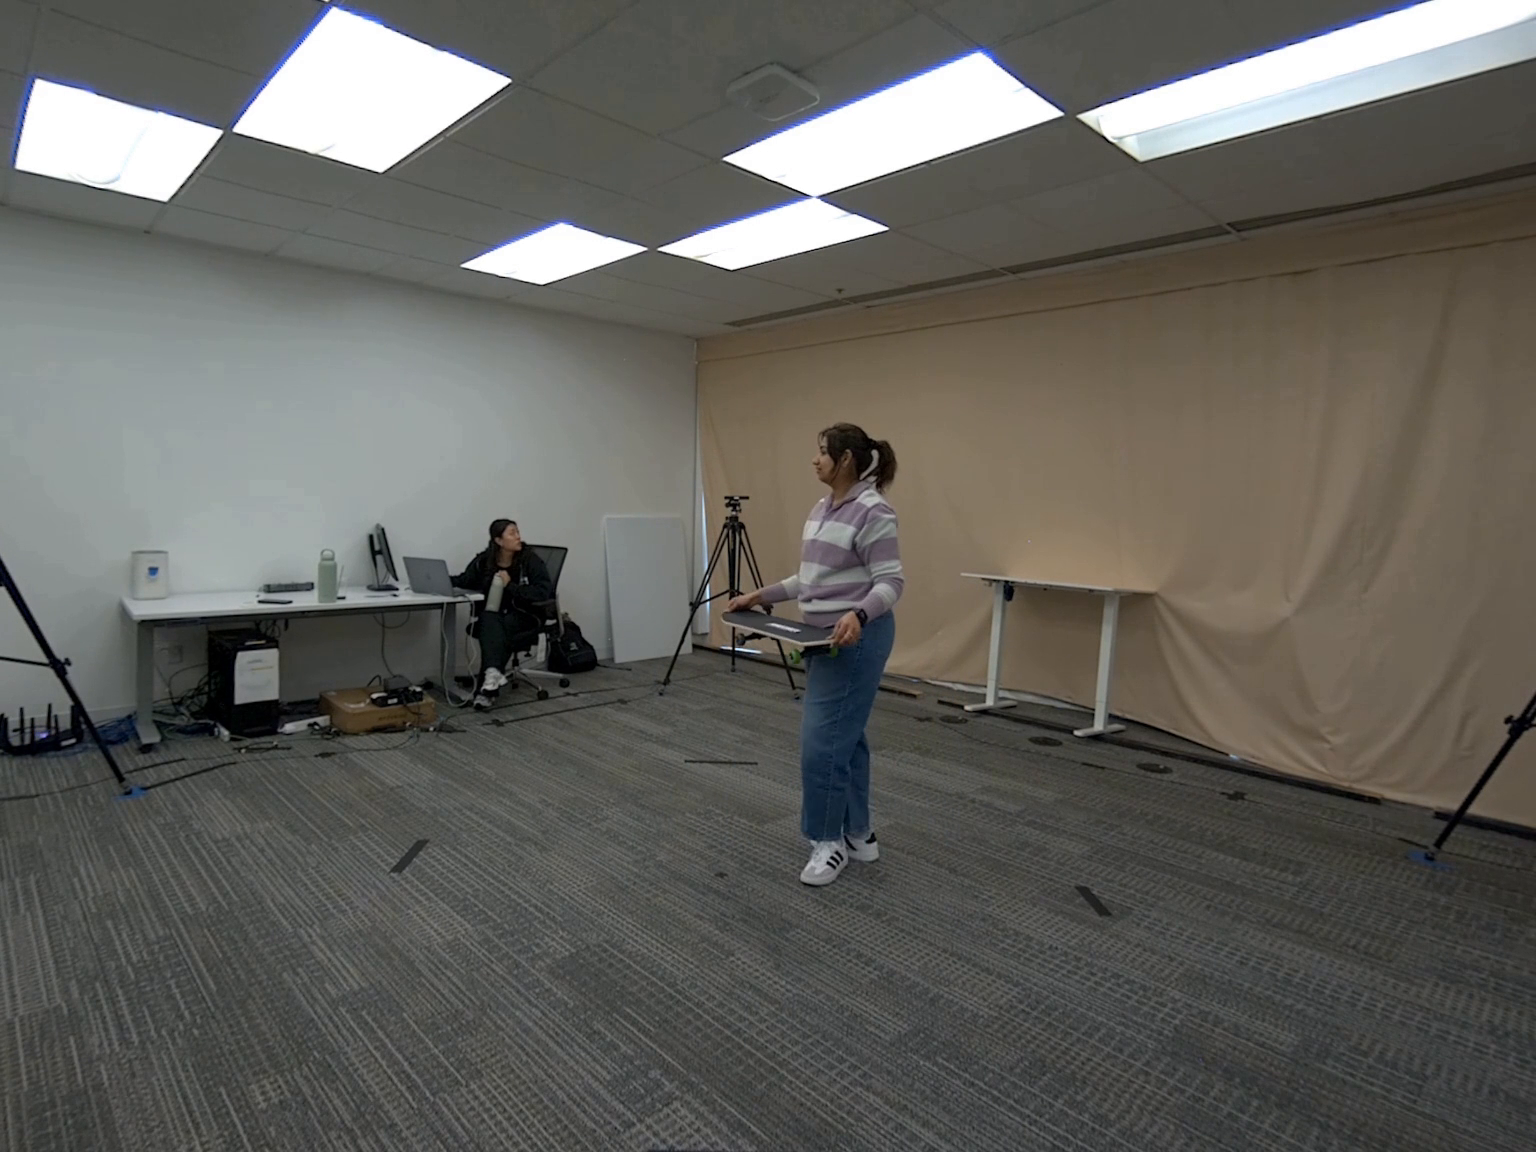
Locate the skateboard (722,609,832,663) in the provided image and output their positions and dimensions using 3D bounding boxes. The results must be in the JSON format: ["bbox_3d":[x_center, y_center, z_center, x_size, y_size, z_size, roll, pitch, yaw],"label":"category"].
[{"bbox_3d":[0.046,0.227,3.101,0.190,0.110,0.803,-7,8,-29],"label":"skateboard"}]
